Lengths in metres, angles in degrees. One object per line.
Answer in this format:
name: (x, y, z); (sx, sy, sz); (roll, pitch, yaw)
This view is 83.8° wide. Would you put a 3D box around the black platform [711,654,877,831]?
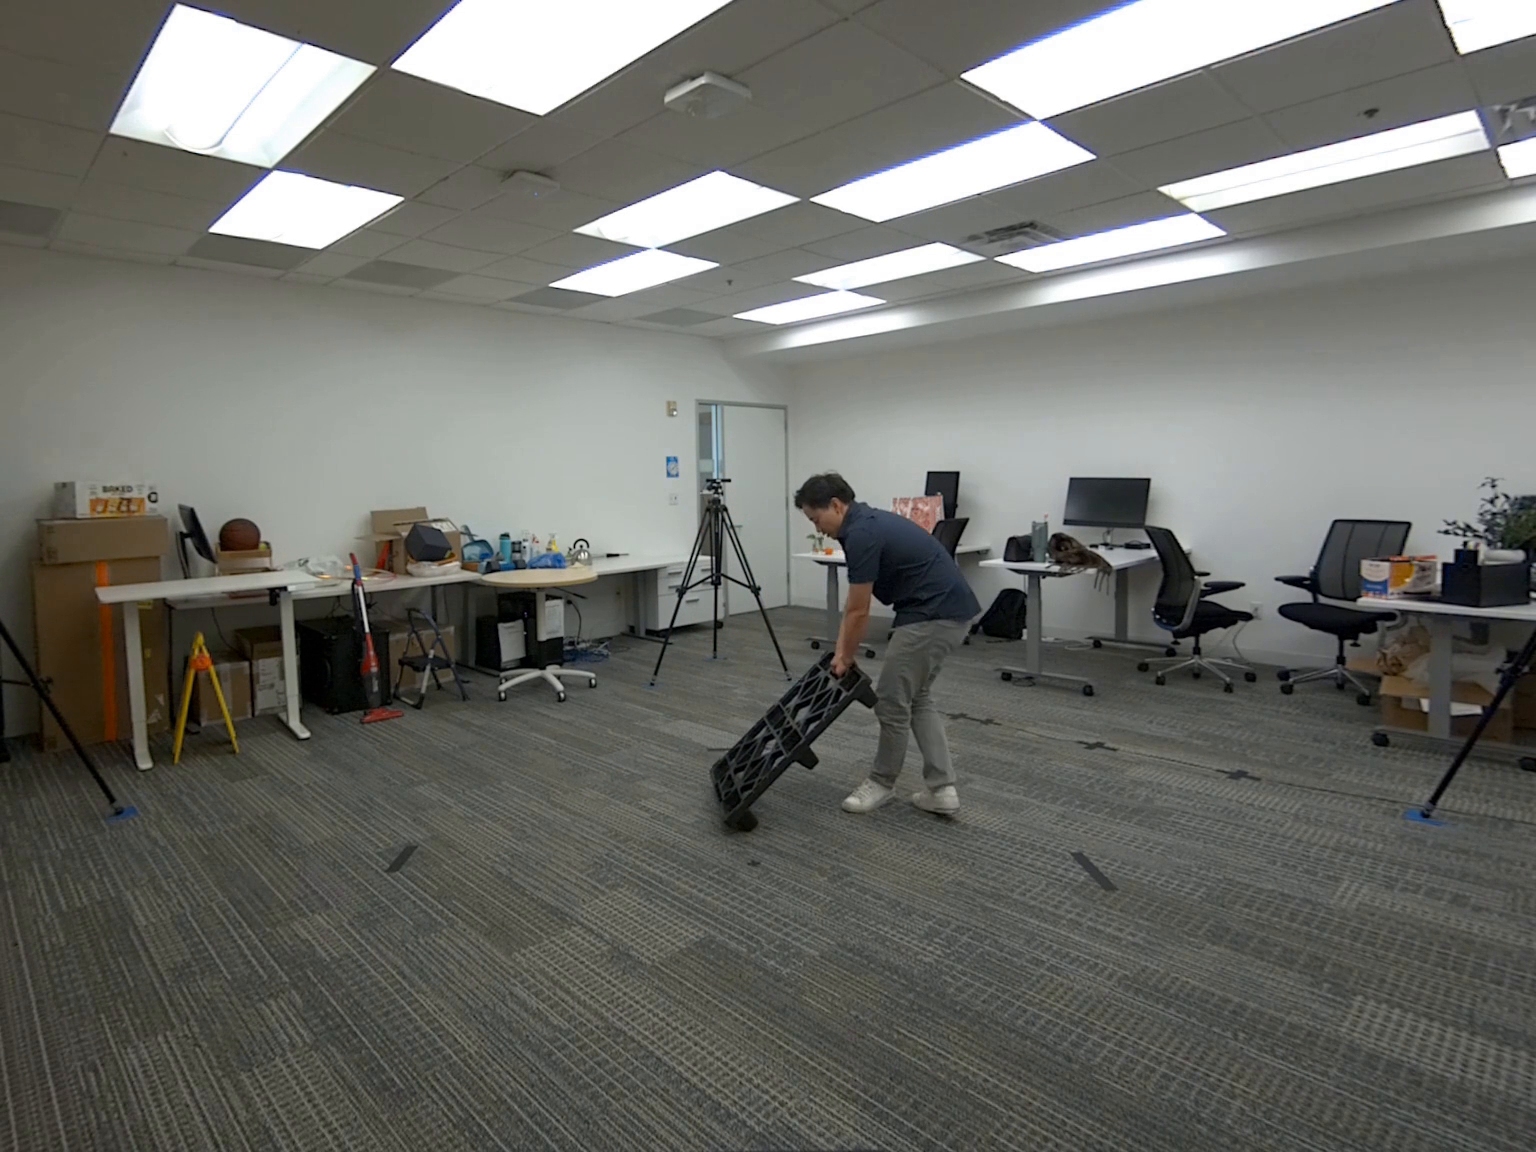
black platform: (0.111, 0.678, 3.614); (0.805, 0.141, 0.614); (-46, 12, -1)
